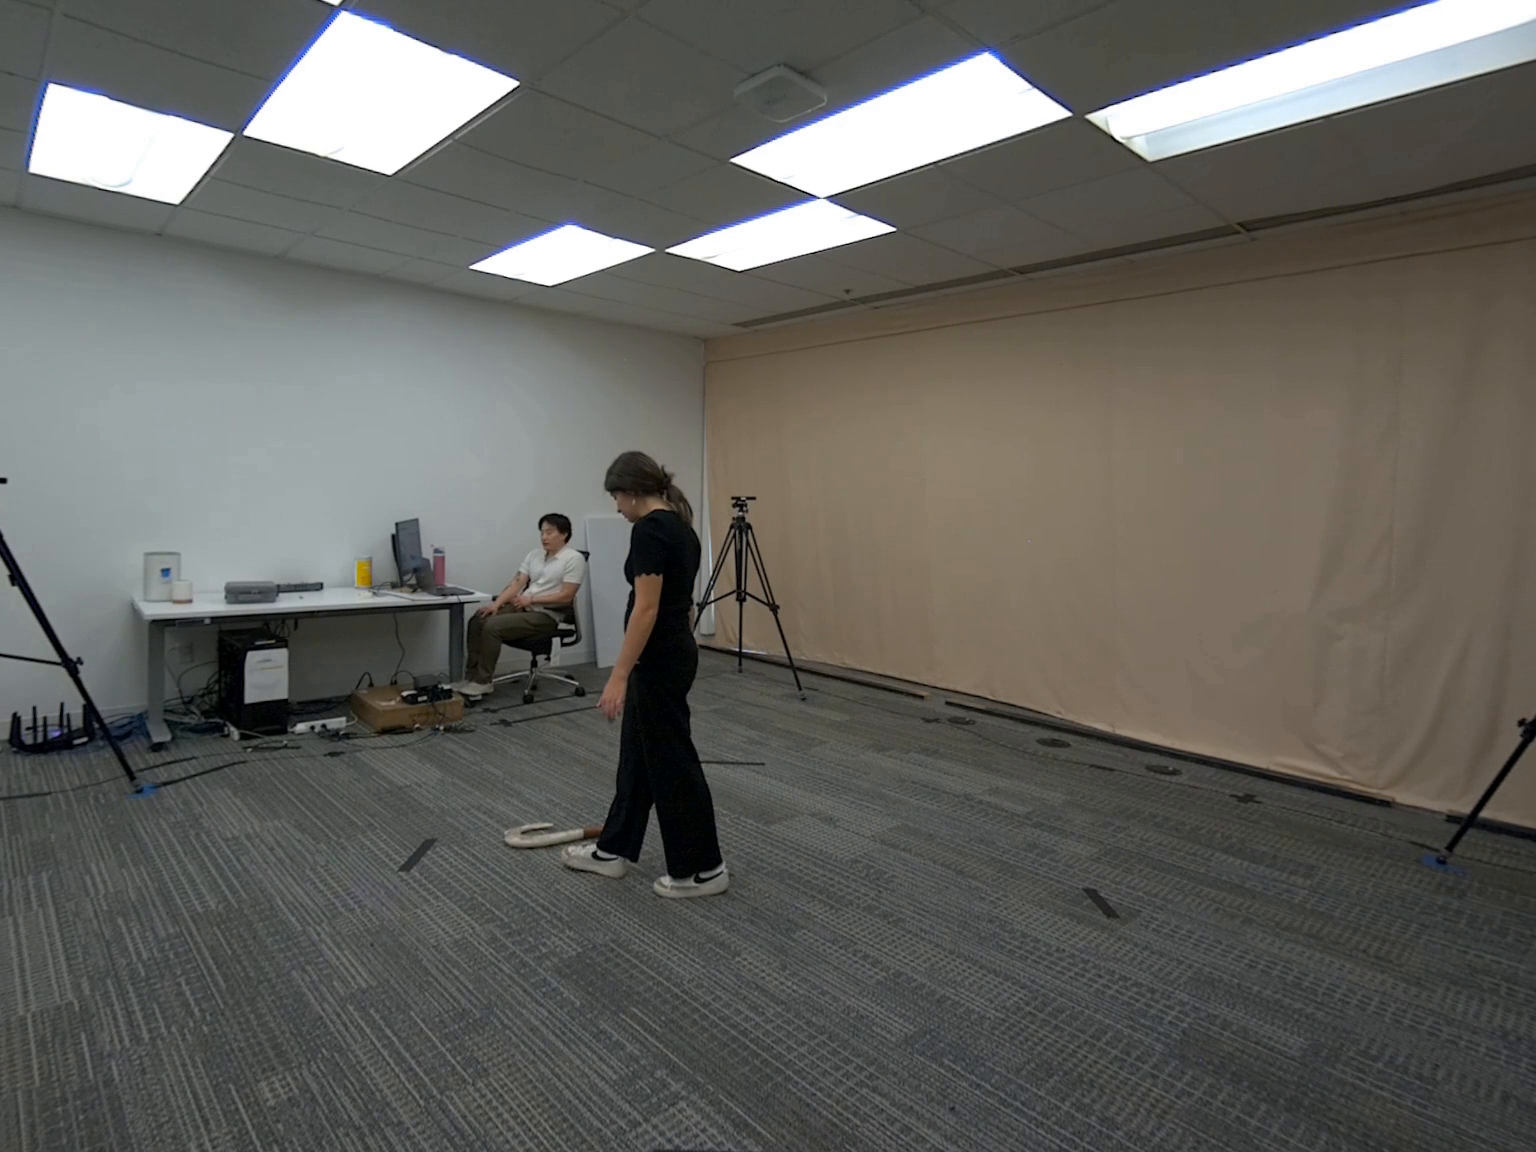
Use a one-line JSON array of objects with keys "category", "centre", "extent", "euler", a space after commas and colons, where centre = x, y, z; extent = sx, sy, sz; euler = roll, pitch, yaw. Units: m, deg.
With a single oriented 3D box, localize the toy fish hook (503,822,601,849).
[{"category": "toy fish hook", "centre": [-0.823, 1.040, 3.432], "extent": [0.500, 0.048, 0.228], "euler": [0, 6, -15]}]
